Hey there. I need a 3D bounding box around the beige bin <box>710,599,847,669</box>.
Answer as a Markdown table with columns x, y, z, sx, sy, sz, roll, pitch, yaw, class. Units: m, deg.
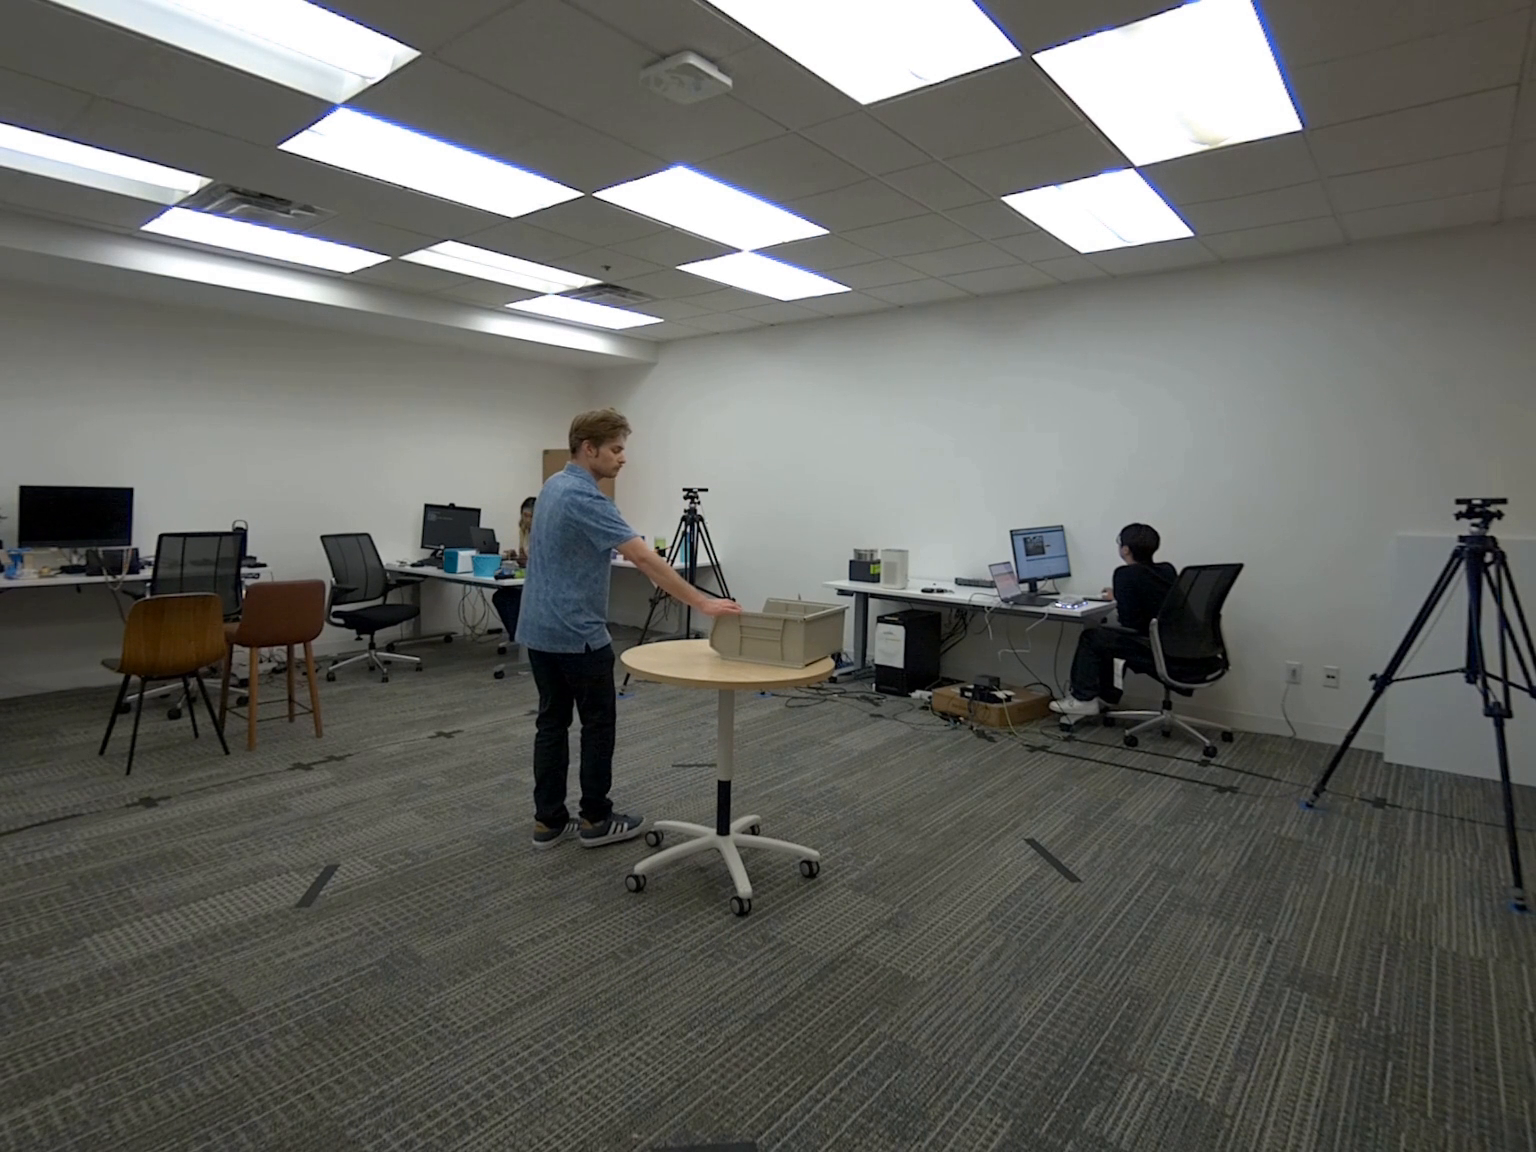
| x | y | z | sx | sy | sz | roll | pitch | yaw | class |
| --- | --- | --- | --- | --- | --- | --- | --- | --- | --- |
| 0.038 | 0.199 | 3.150 | 0.388 | 0.188 | 0.412 | 6 | 6 | 26 | beige bin |
